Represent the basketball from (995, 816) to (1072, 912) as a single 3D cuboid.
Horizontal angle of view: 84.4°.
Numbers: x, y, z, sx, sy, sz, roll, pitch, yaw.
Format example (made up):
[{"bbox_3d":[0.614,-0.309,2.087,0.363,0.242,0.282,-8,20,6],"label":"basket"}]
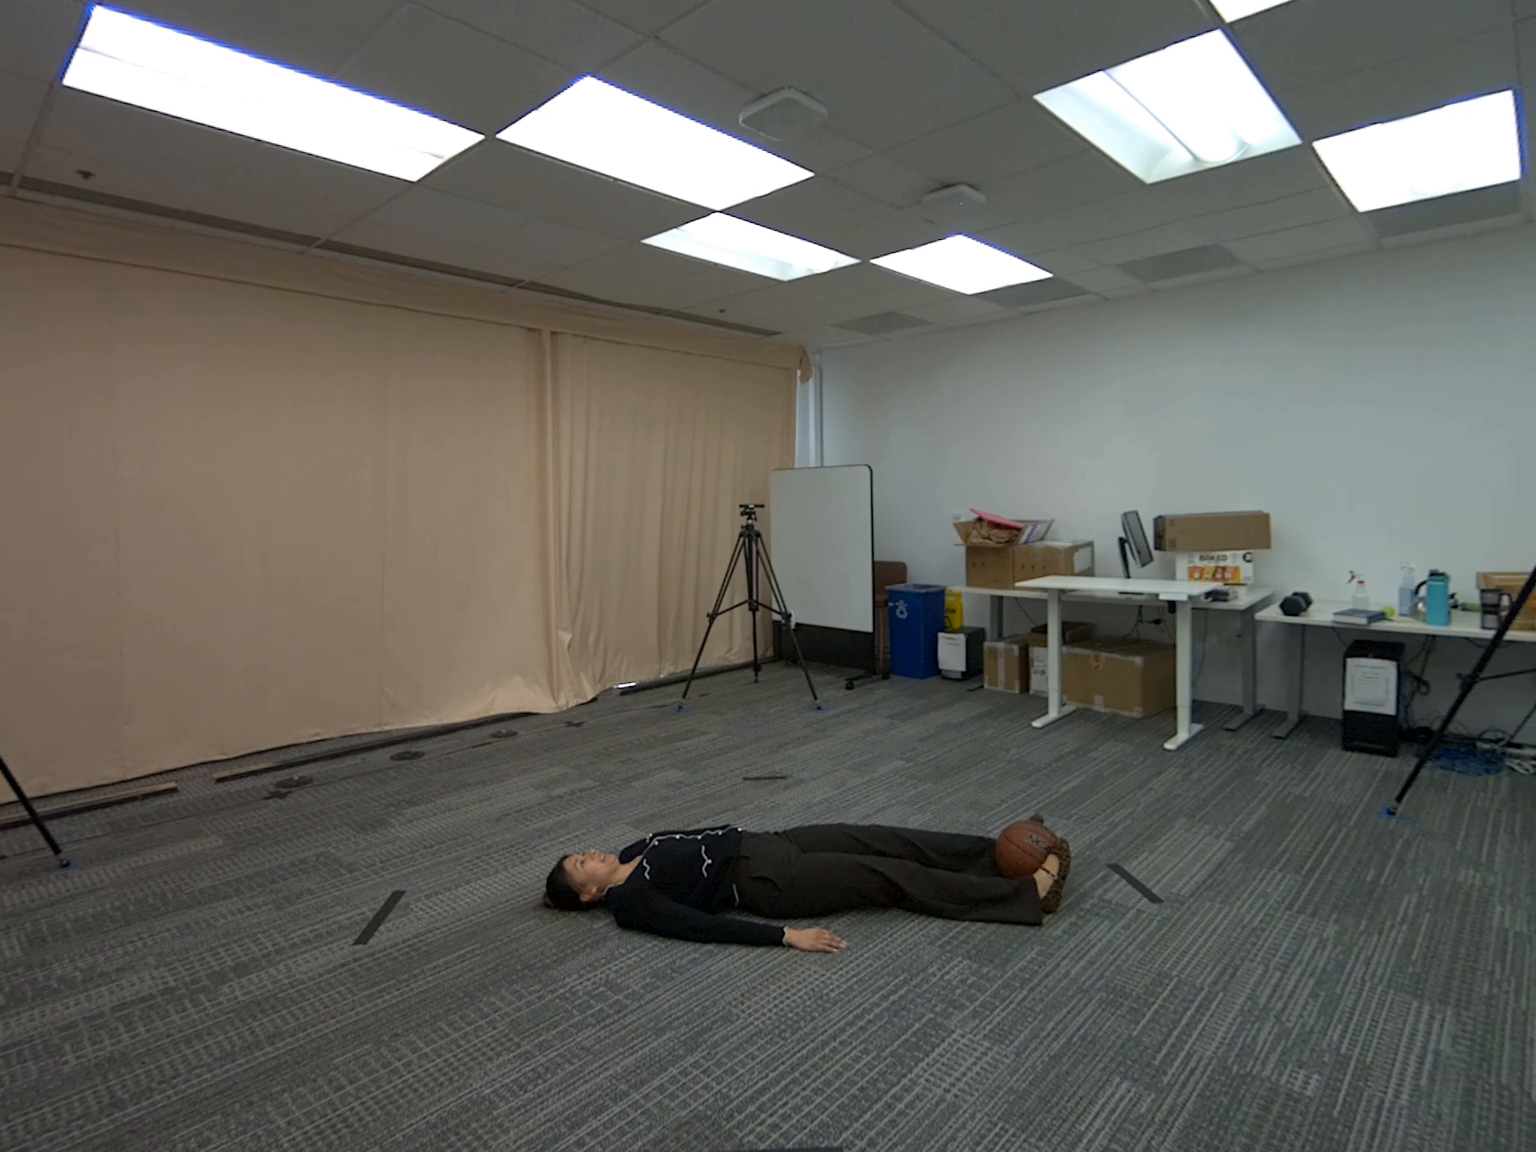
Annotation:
[{"bbox_3d":[0.945,1.002,3.022,0.236,0.236,0.236,0,1,-2],"label":"basketball"}]
